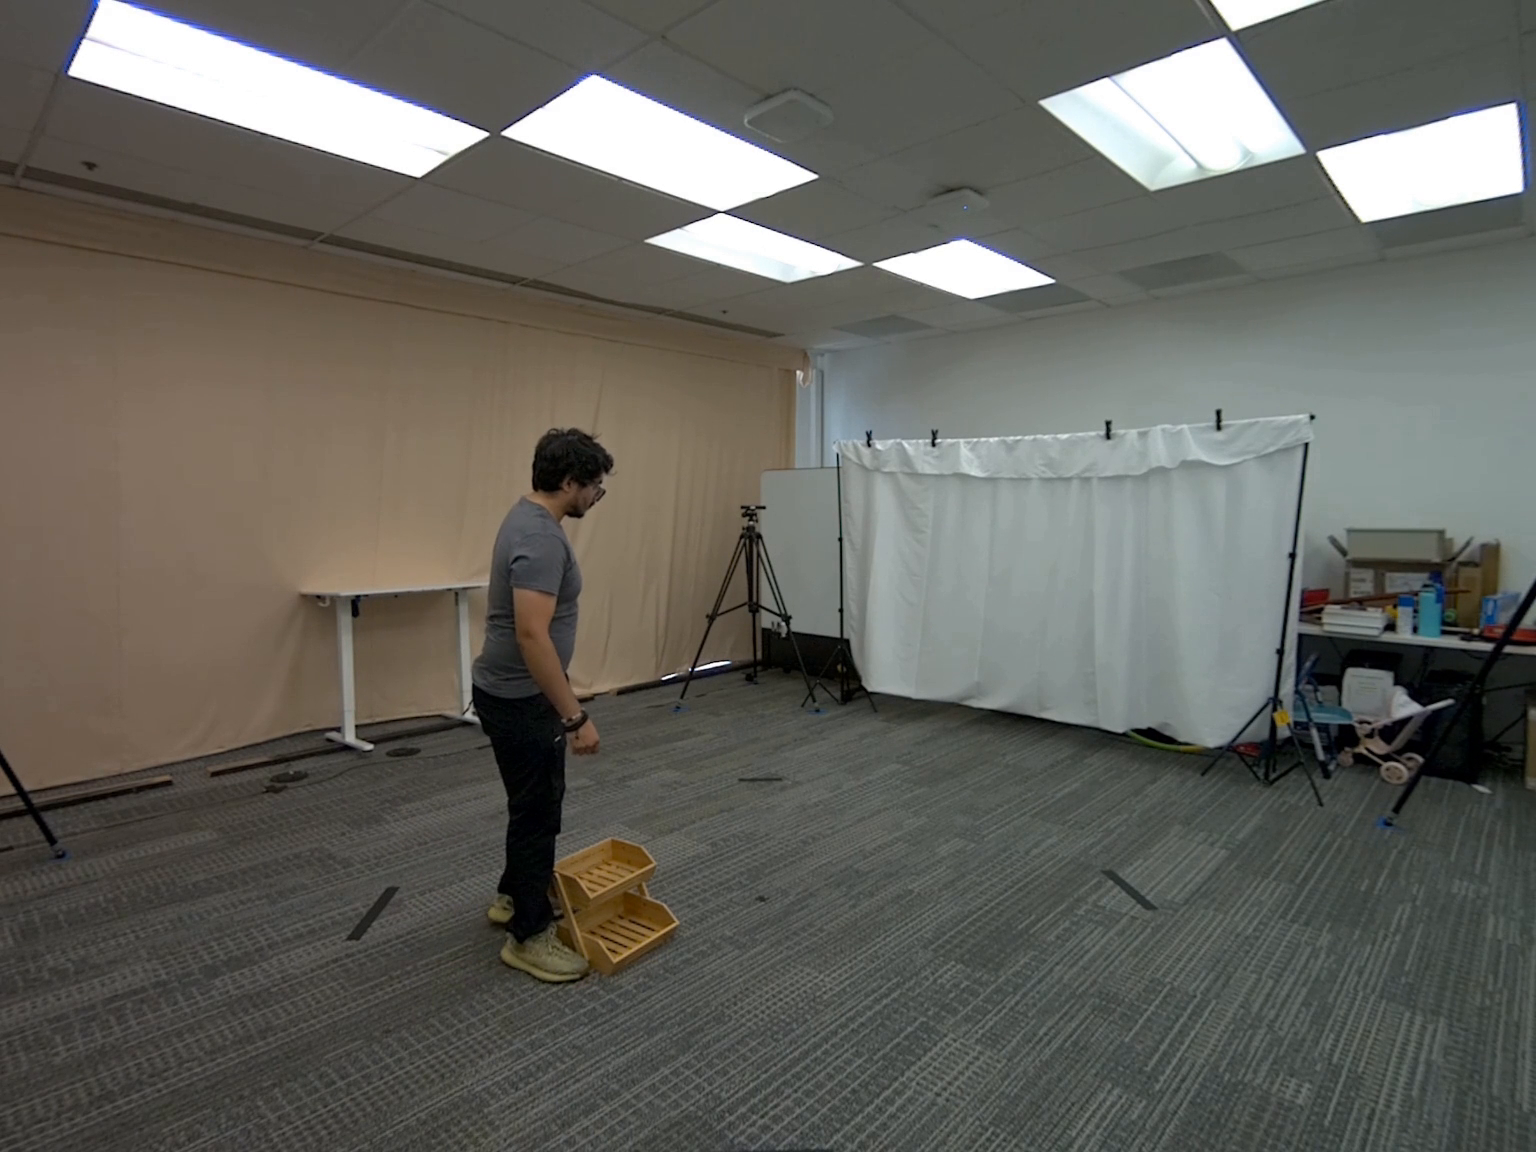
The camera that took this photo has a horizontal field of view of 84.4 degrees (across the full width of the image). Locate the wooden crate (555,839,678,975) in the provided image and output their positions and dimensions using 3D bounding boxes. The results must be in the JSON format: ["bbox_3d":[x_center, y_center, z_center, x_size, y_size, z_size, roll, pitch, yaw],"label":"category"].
[{"bbox_3d":[-0.492,1.039,2.682,0.311,0.273,0.315,1,4,35],"label":"wooden crate"}]
